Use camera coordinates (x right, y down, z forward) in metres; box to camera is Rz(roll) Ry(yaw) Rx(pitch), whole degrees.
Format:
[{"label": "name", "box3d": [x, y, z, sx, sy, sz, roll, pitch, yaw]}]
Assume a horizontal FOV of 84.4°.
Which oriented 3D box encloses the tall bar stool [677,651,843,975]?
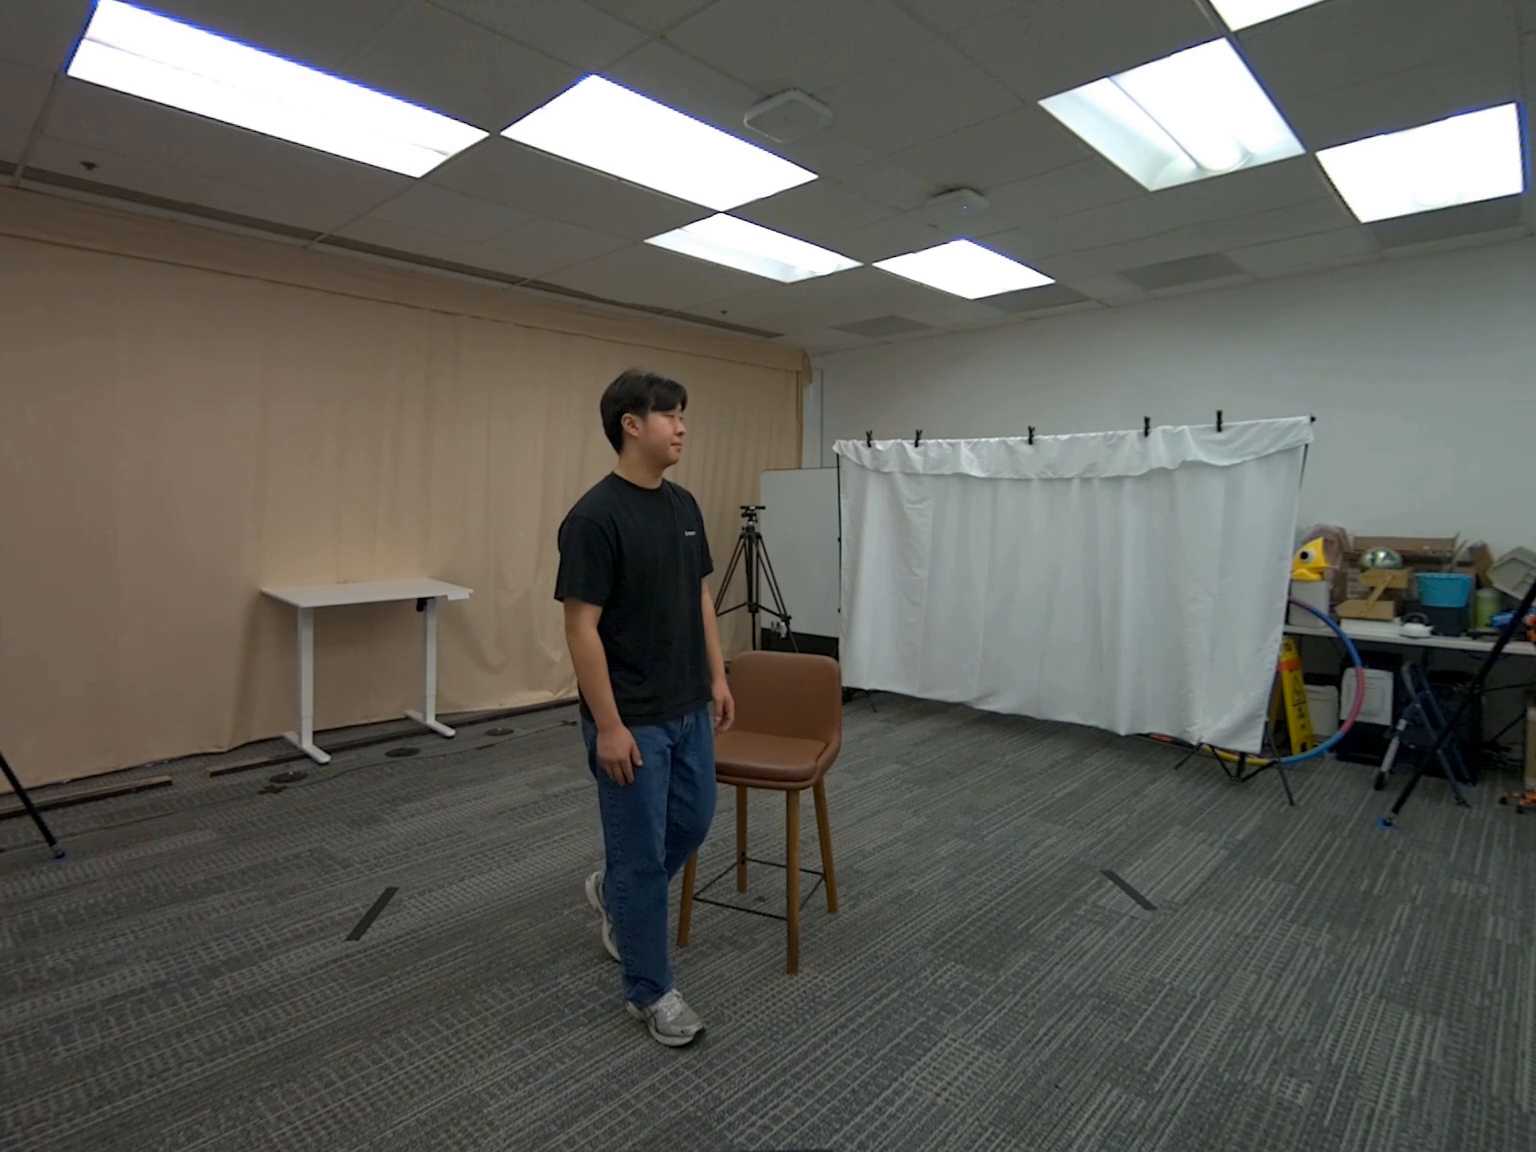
[{"label": "tall bar stool", "box3d": [-0.007, 0.727, 2.760, 0.469, 0.888, 0.456, 2, 2, 26]}]
